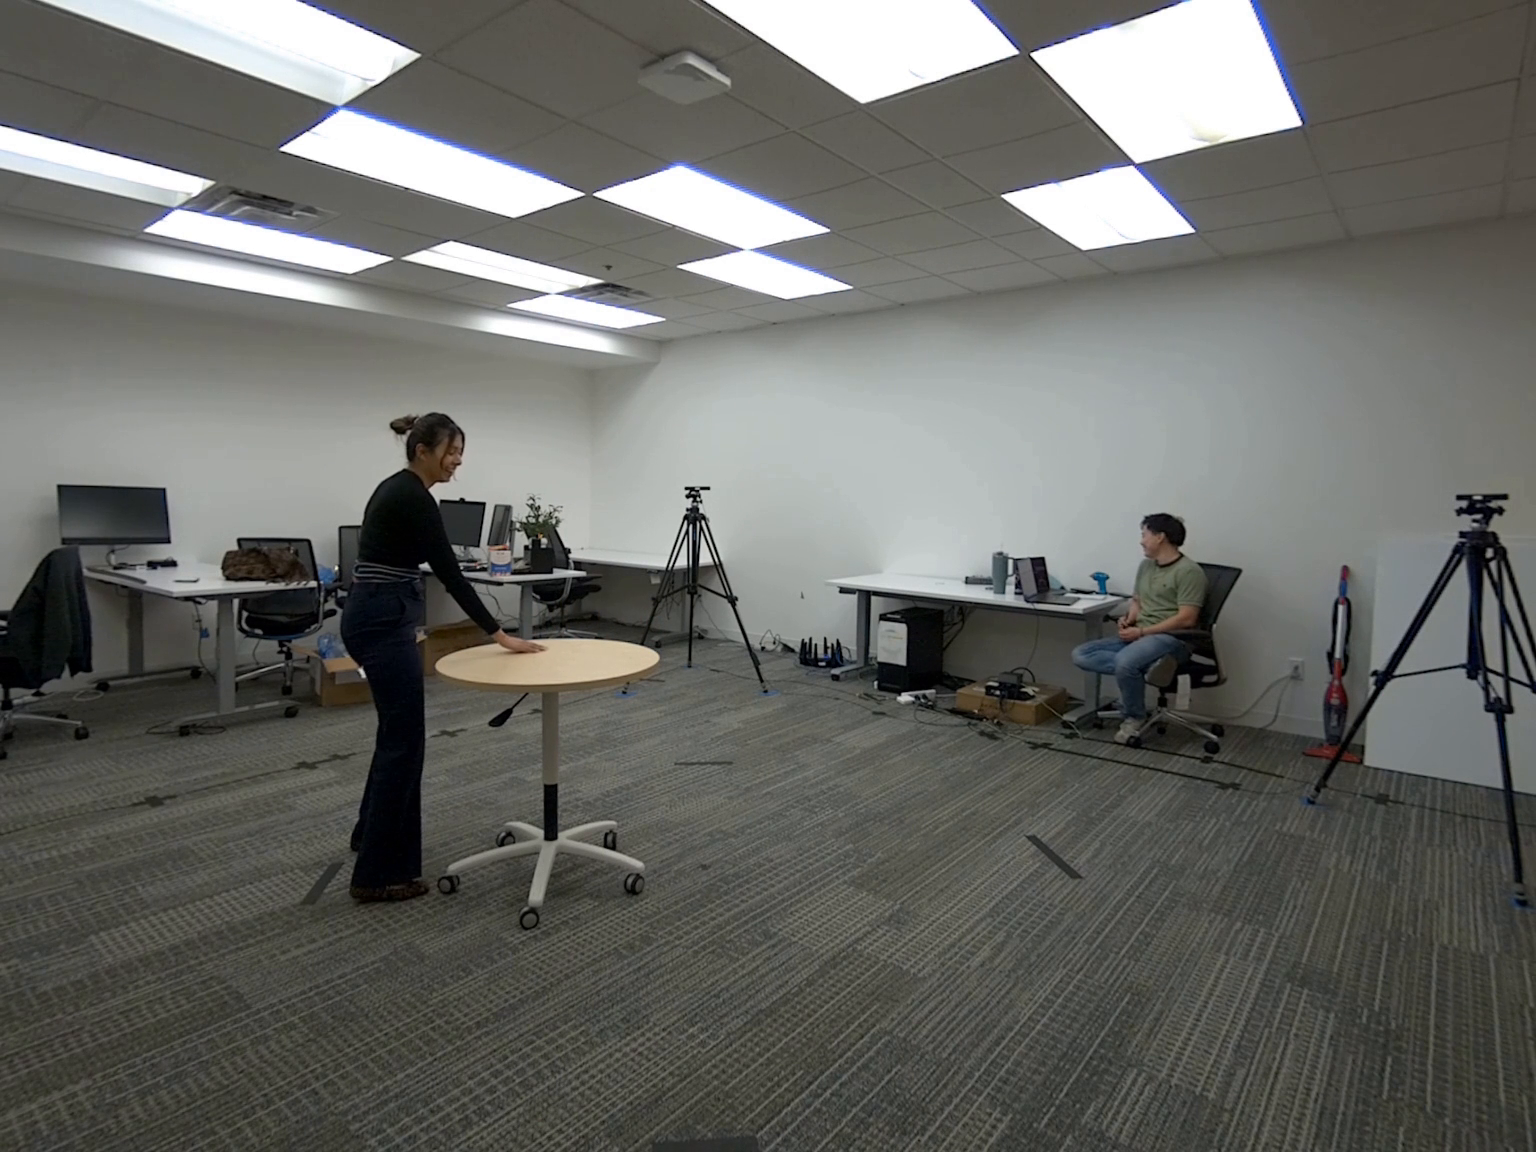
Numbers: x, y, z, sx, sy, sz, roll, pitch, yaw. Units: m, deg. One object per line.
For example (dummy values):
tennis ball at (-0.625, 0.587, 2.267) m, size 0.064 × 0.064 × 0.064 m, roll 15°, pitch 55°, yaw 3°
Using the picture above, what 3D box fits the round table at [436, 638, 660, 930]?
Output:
round table at (-0.777, 0.681, 2.998) m, size 0.763 × 0.791 × 0.768 m, roll 0°, pitch 4°, yaw -2°
